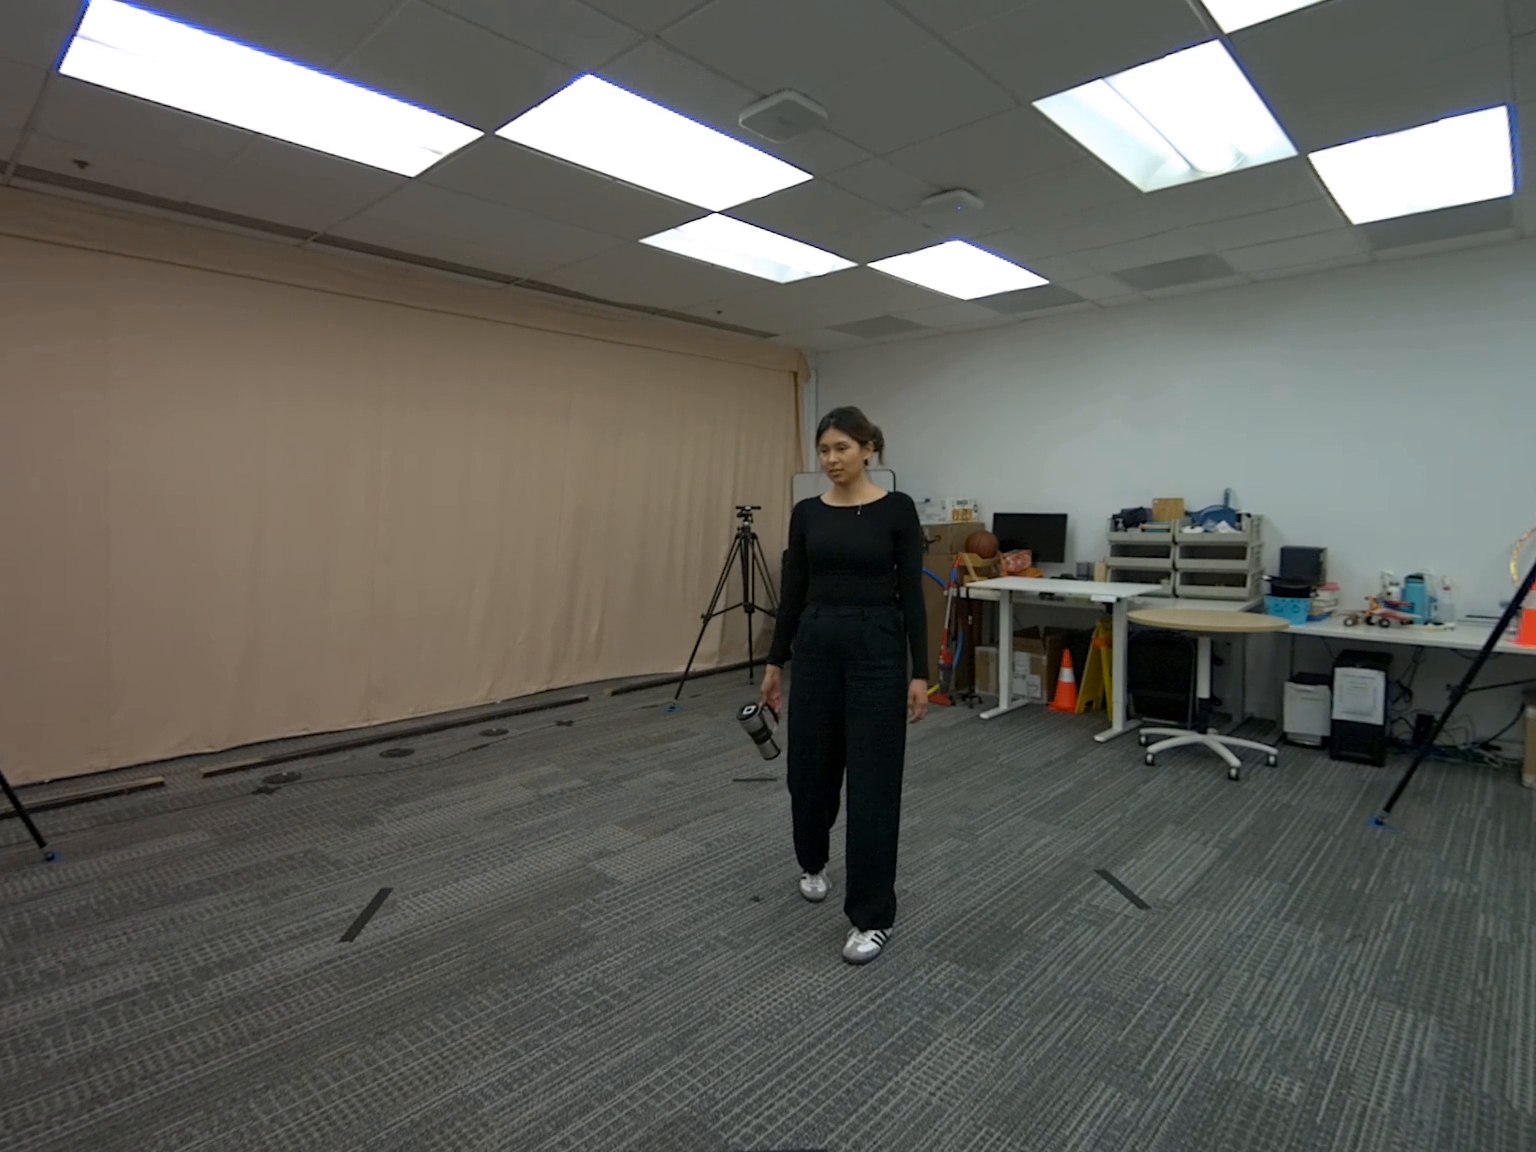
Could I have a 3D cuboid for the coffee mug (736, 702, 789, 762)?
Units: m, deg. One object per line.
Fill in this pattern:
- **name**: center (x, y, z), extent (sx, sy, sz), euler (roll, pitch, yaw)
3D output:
- **coffee mug**: center (-0.006, 0.546, 2.898), extent (0.125, 0.200, 0.087), euler (-17, 17, 43)
